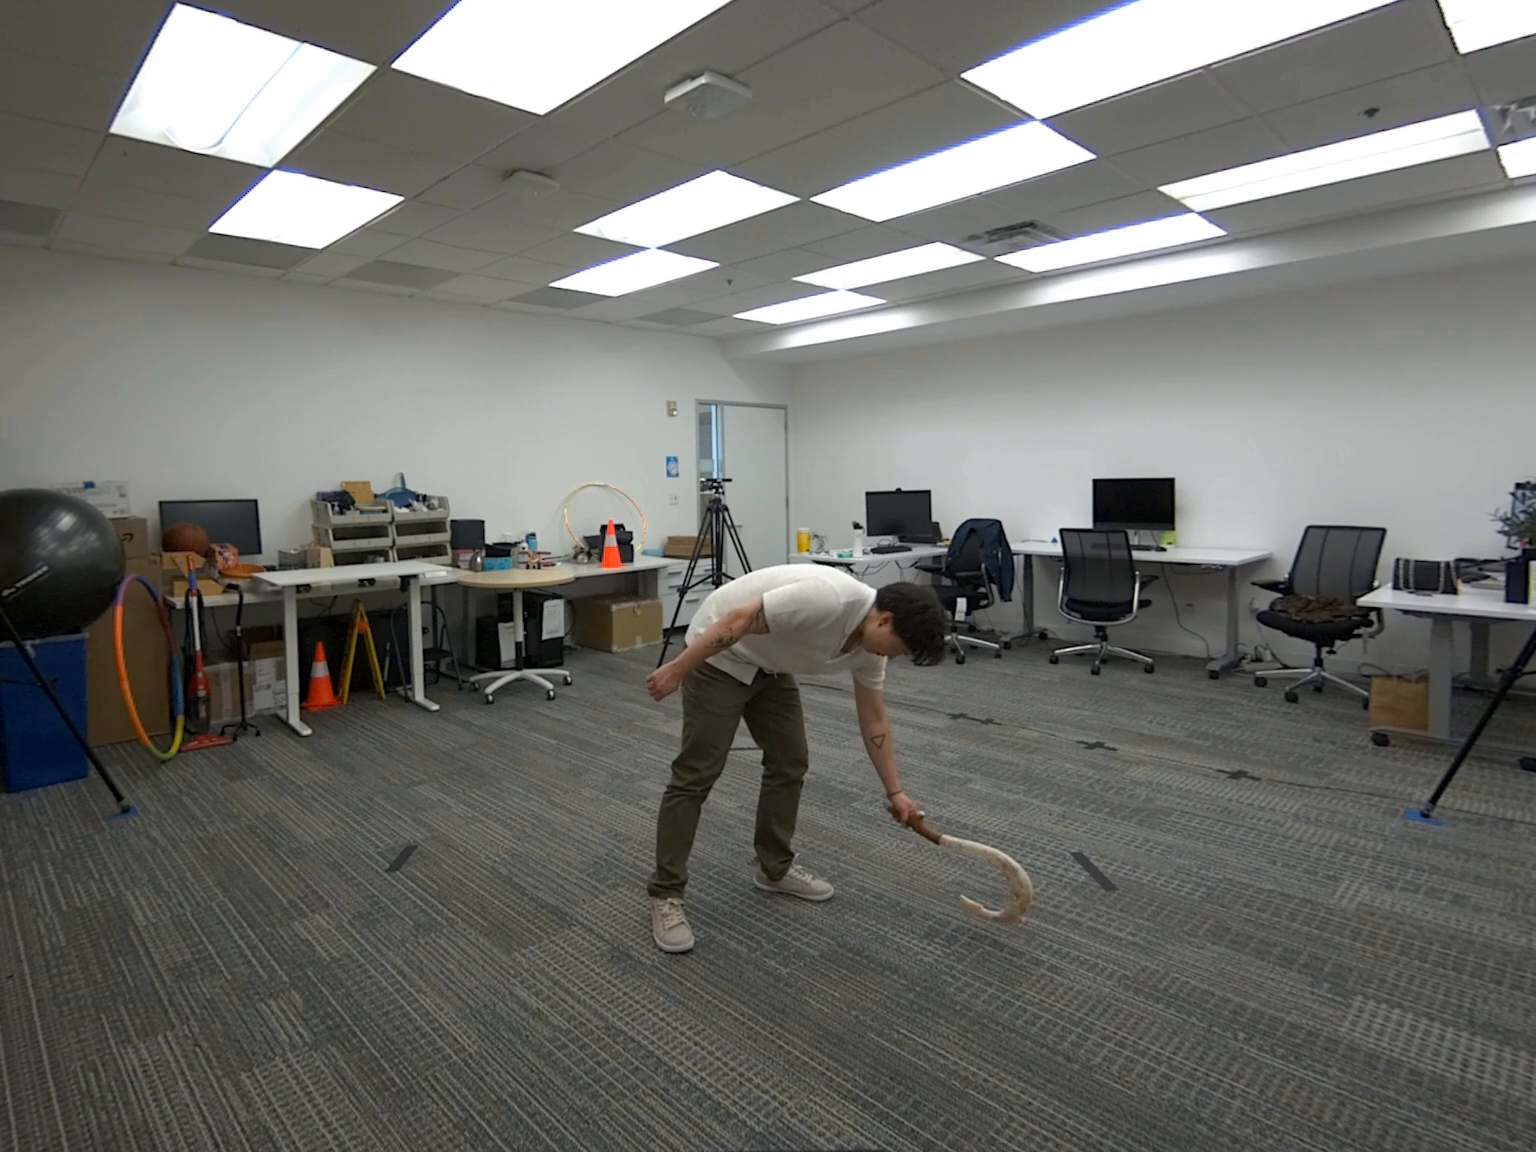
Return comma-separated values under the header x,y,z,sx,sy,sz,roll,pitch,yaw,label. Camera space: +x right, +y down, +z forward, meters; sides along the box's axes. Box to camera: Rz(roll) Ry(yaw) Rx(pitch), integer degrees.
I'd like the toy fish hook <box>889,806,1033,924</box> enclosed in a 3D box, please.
x,y,z,sx,sy,sz,roll,pitch,yaw,label
0.573,0.887,2.664,0.525,0.223,0.047,24,11,37,toy fish hook
